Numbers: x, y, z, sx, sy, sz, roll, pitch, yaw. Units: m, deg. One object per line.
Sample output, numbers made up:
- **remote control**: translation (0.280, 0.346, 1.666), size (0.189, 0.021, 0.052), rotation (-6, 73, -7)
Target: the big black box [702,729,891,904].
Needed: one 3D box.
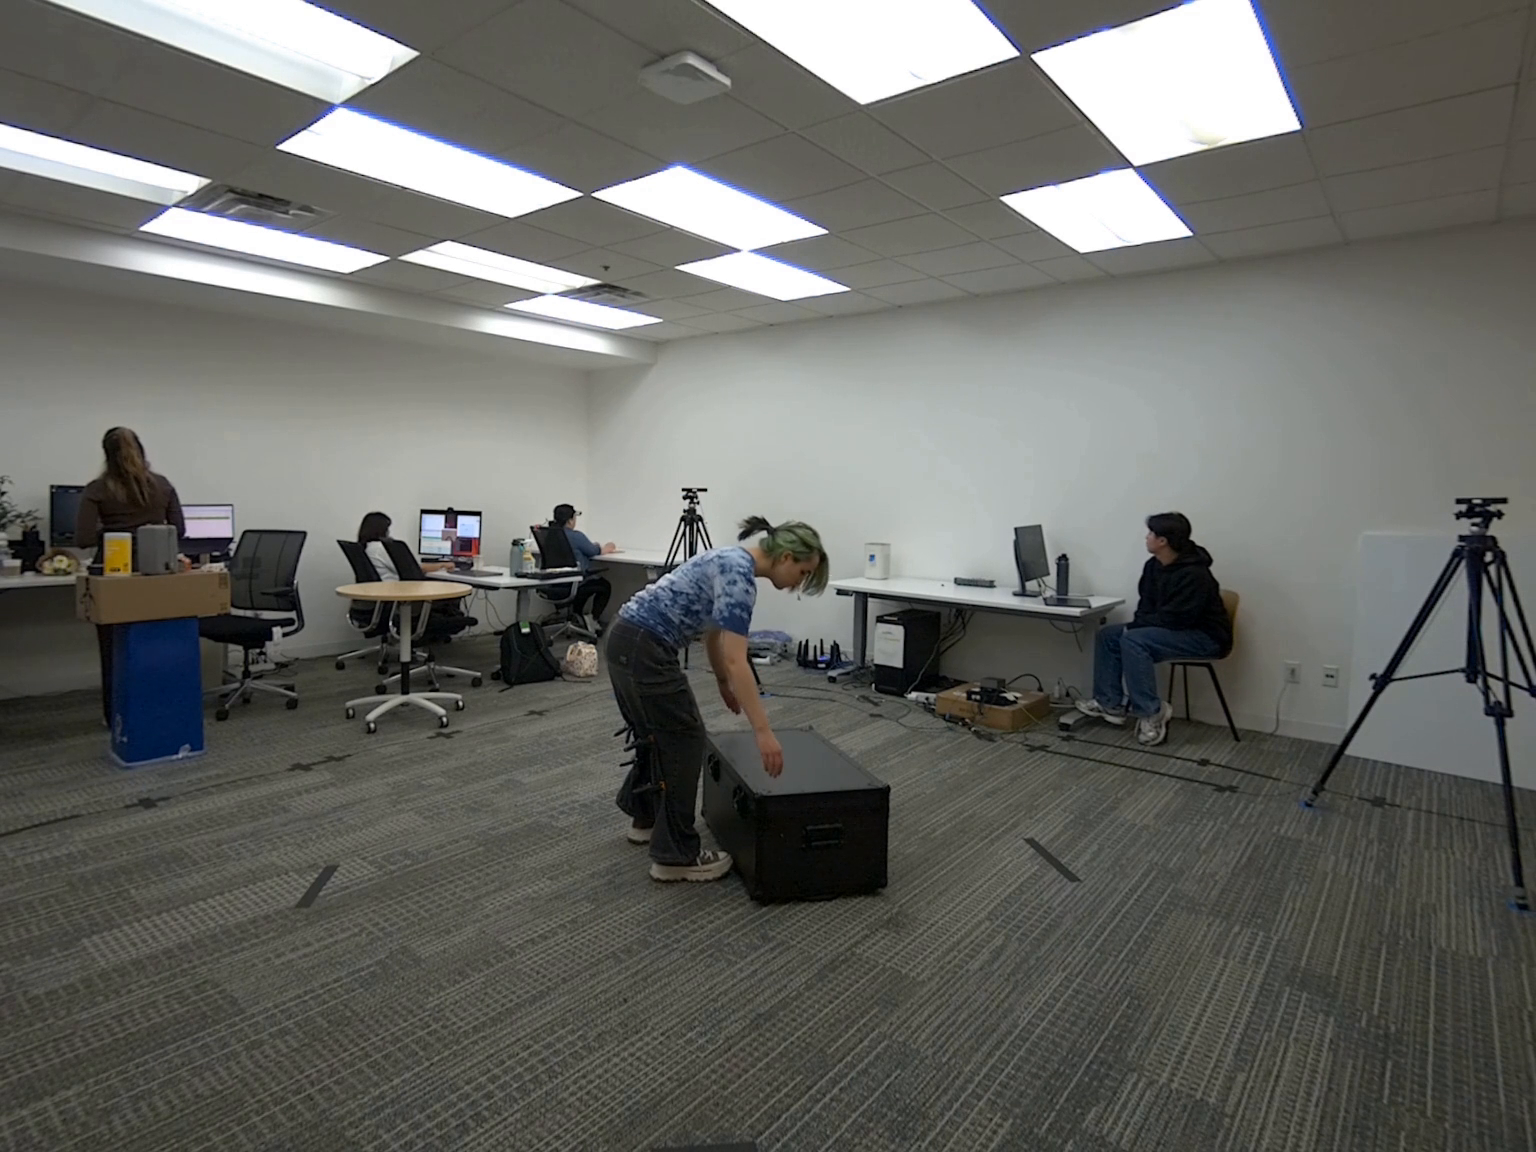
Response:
- **big black box**: translation (0.068, 0.868, 3.218), size (0.513, 0.395, 0.879), rotation (-1, 5, -16)
